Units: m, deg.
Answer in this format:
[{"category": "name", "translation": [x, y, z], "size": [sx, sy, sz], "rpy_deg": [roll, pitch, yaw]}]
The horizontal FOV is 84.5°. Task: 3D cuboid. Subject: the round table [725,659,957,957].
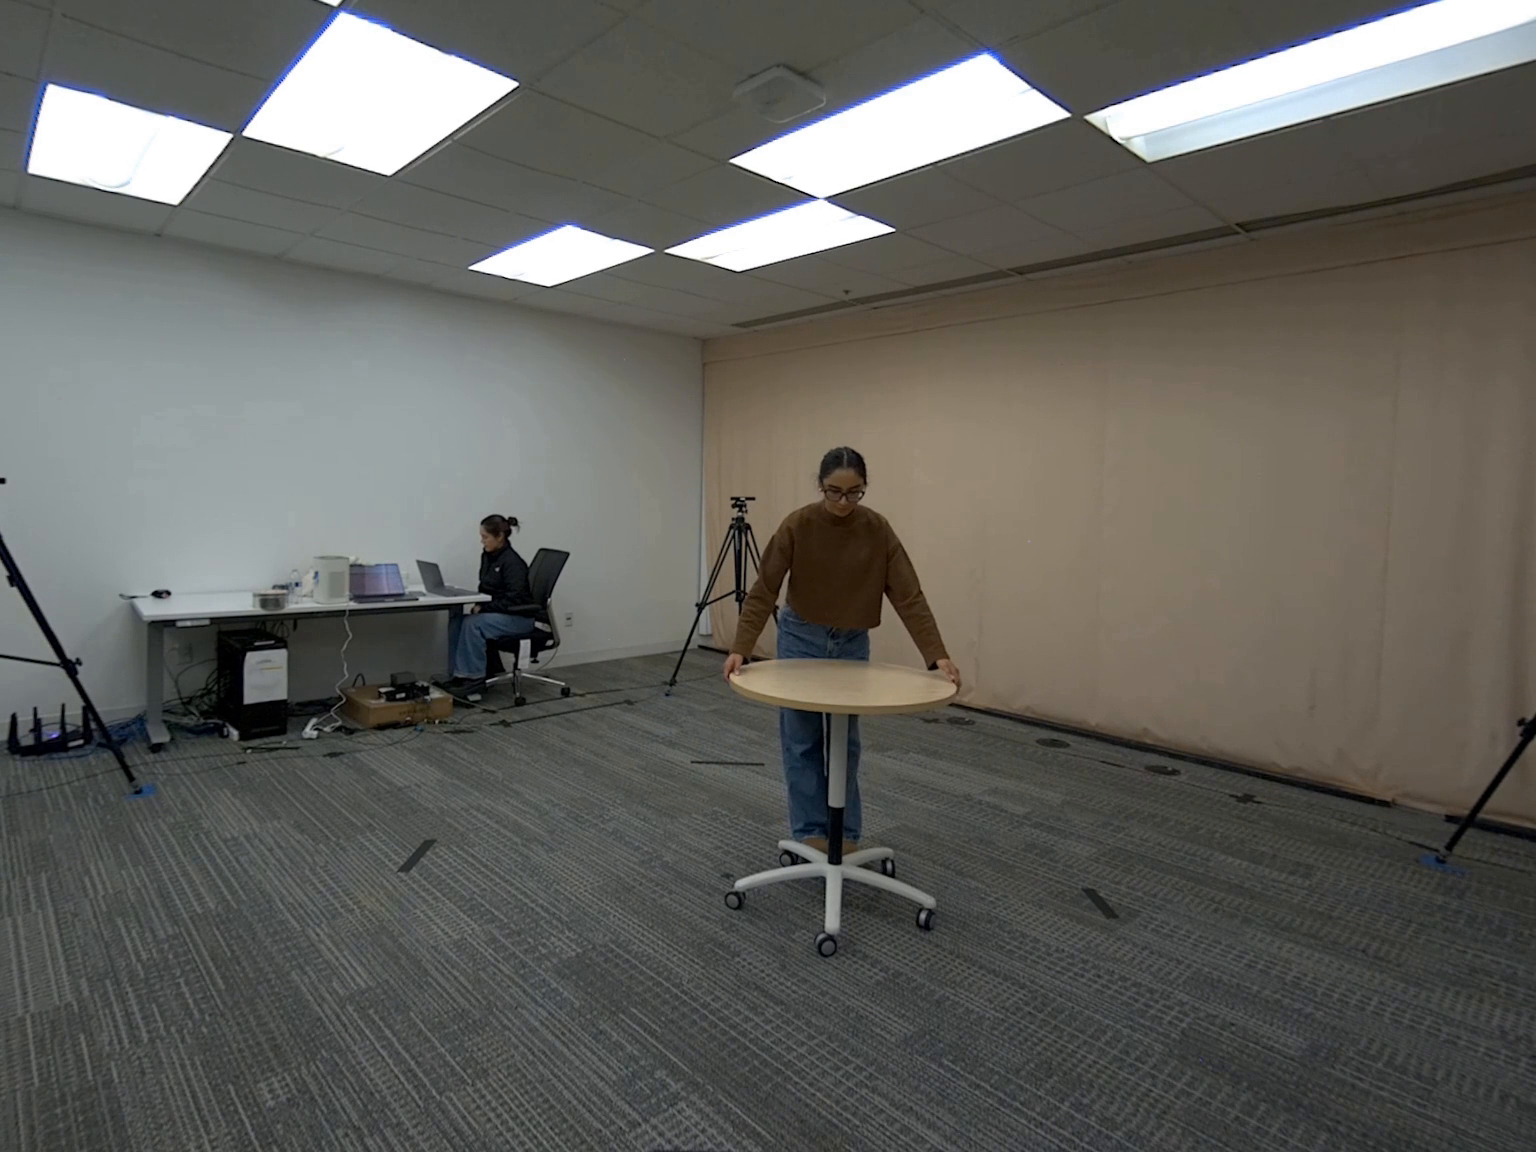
[{"category": "round table", "translation": [0.237, 0.743, 2.880], "size": [0.784, 0.784, 0.788], "rpy_deg": [2, 4, -1]}]
